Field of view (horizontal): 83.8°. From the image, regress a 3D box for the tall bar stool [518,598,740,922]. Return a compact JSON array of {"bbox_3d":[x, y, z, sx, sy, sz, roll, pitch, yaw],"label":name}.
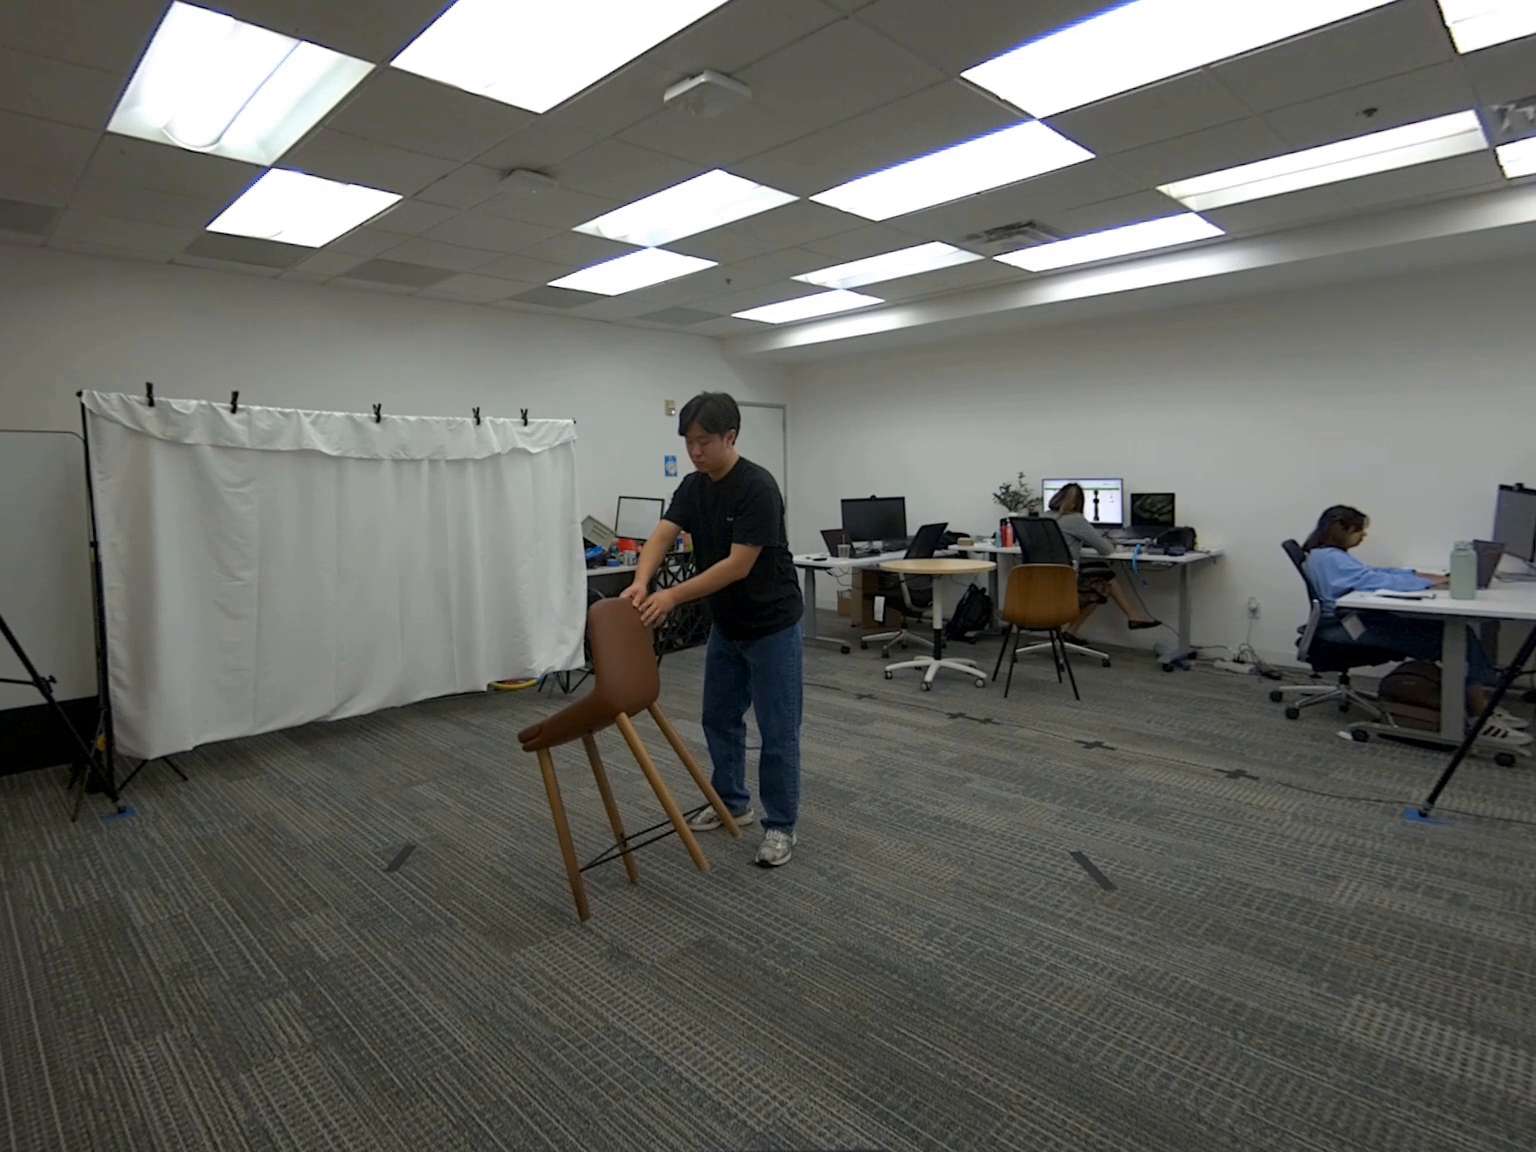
[{"bbox_3d":[-0.508,0.575,2.816,0.471,0.900,0.448,-26,-9,14],"label":"tall bar stool"}]
